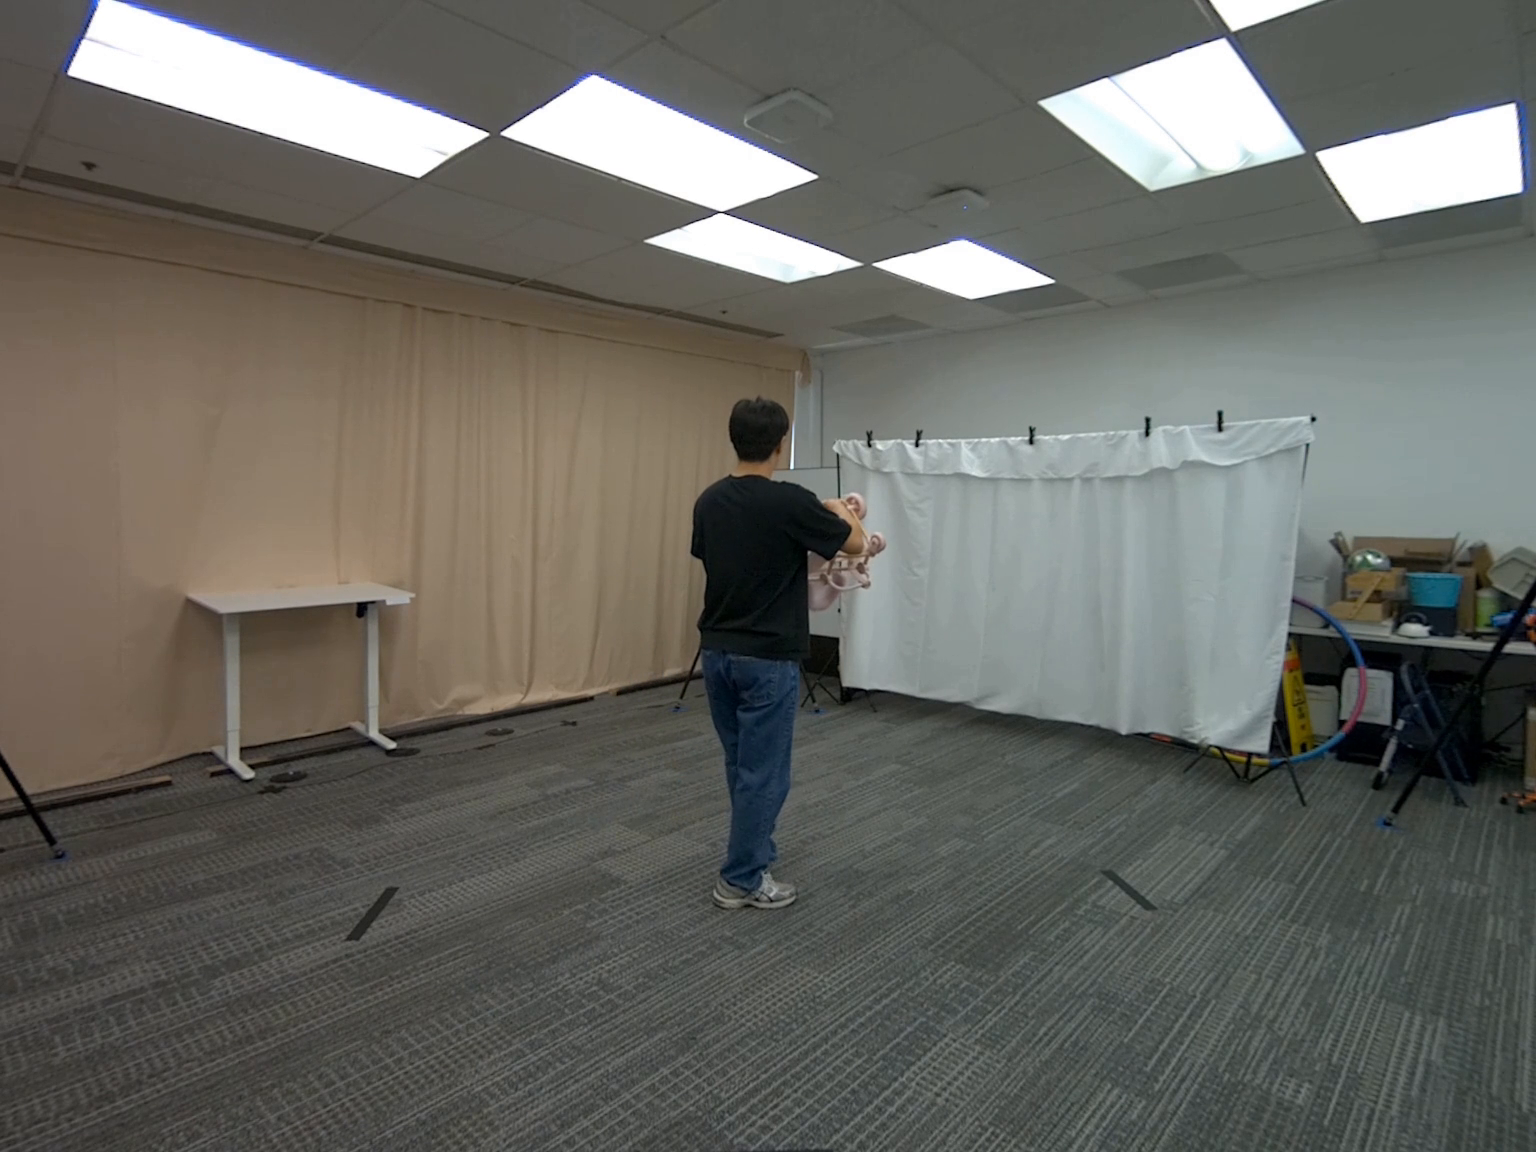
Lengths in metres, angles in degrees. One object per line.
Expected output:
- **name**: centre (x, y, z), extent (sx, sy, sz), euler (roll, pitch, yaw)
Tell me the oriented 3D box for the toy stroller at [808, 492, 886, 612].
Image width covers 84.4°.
- **toy stroller**: centre (0.257, -0.059, 3.234), extent (0.275, 0.532, 0.351), euler (-20, 57, -37)
